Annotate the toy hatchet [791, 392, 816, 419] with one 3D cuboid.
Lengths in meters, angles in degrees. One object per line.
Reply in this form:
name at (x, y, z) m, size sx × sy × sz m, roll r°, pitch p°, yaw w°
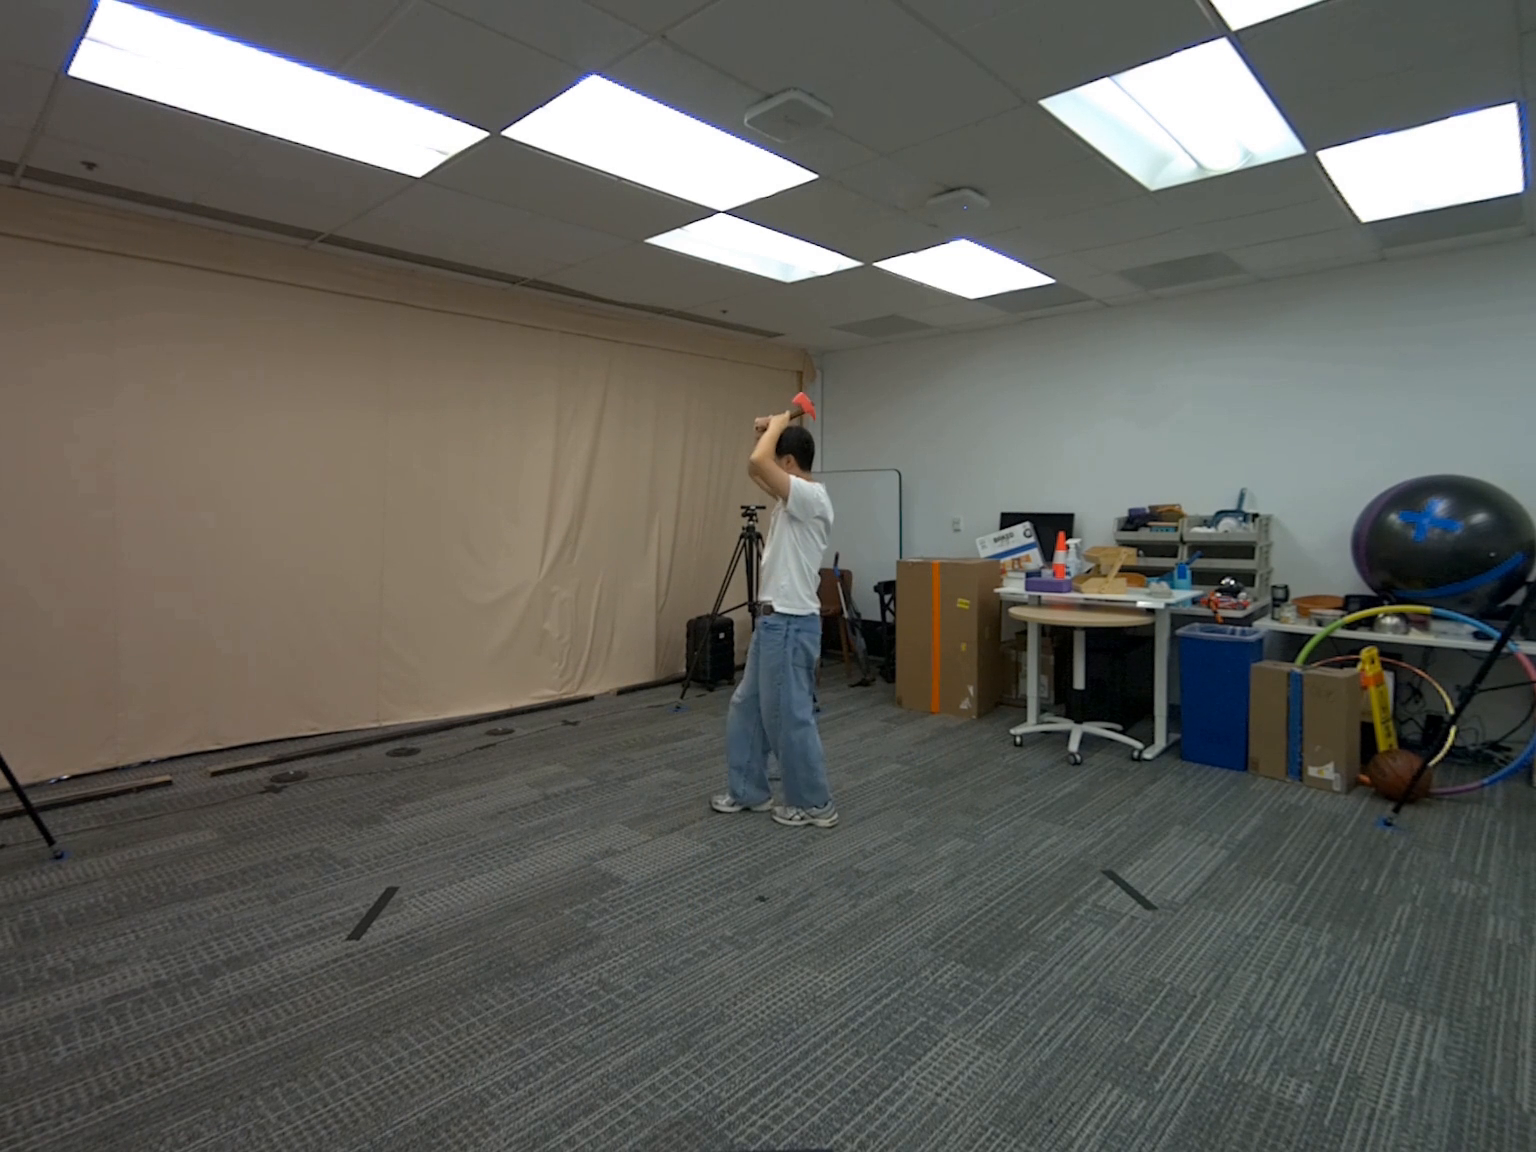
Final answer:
toy hatchet at (0.070, -0.718, 3.640) m, size 0.274 × 0.130 × 0.029 m, roll -6°, pitch 6°, yaw 14°
